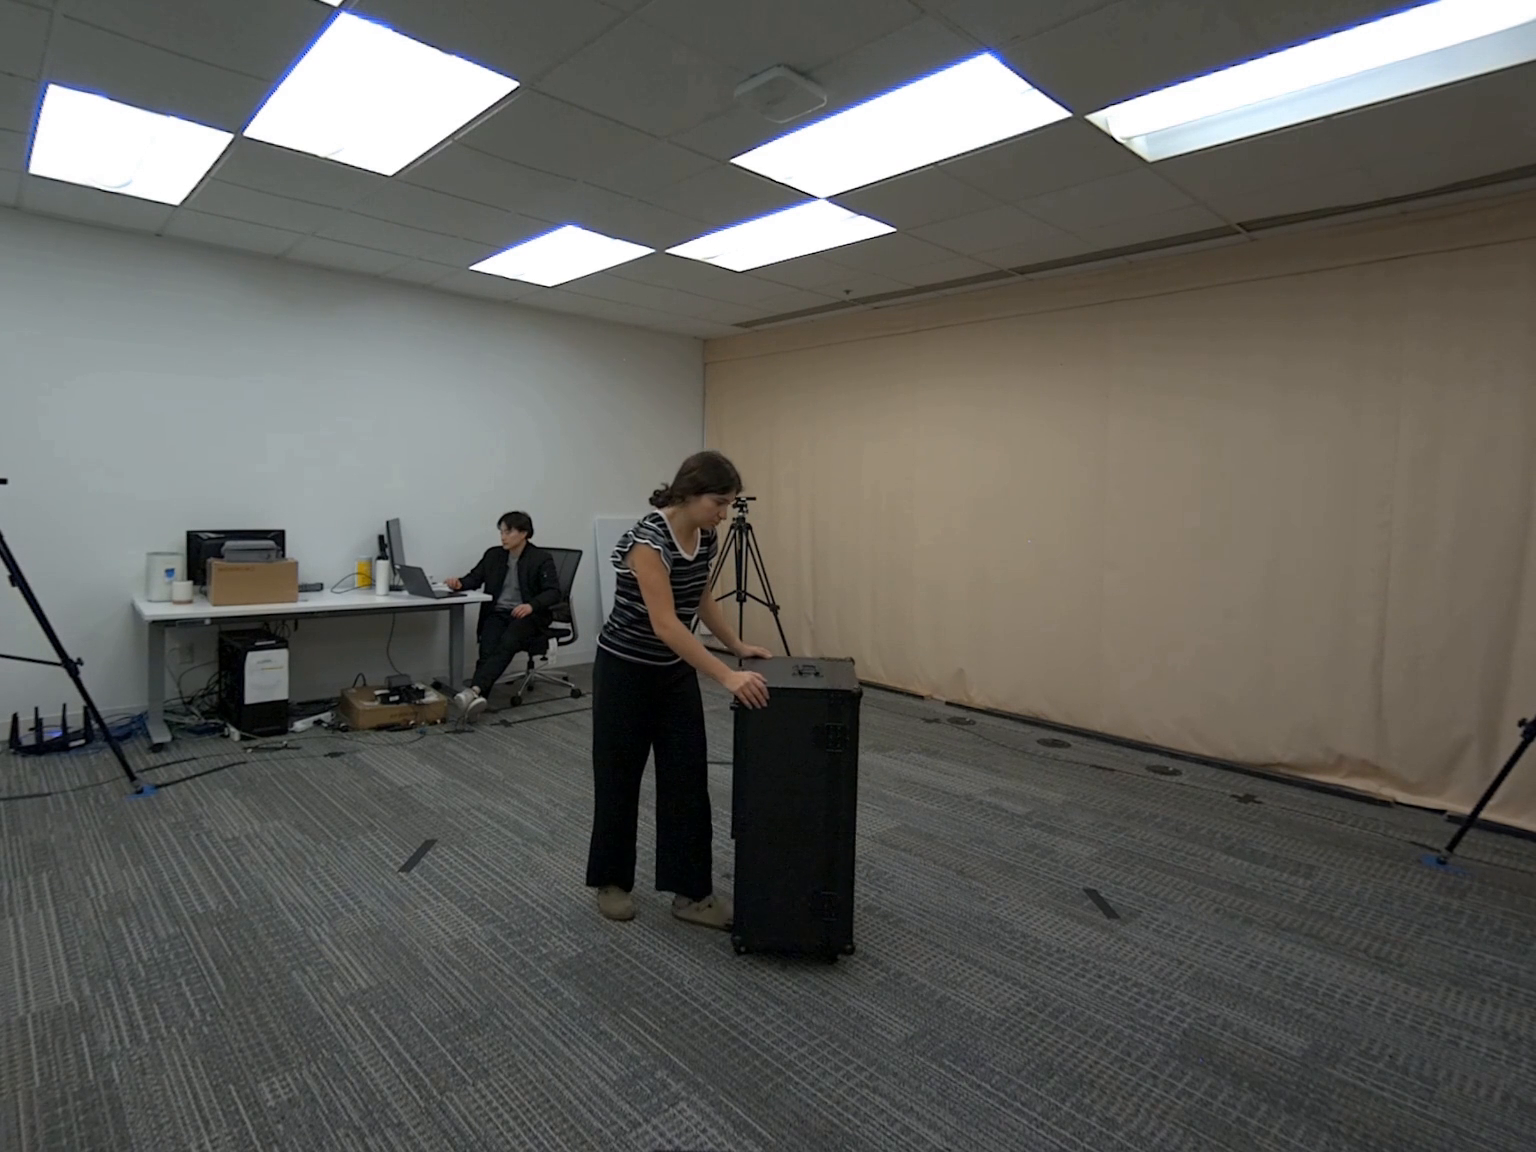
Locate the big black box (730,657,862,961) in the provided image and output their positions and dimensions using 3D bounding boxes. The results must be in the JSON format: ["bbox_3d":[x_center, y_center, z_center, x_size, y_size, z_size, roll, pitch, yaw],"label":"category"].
[{"bbox_3d":[0.075,0.725,2.677,0.398,0.859,0.520,1,4,5],"label":"big black box"}]
